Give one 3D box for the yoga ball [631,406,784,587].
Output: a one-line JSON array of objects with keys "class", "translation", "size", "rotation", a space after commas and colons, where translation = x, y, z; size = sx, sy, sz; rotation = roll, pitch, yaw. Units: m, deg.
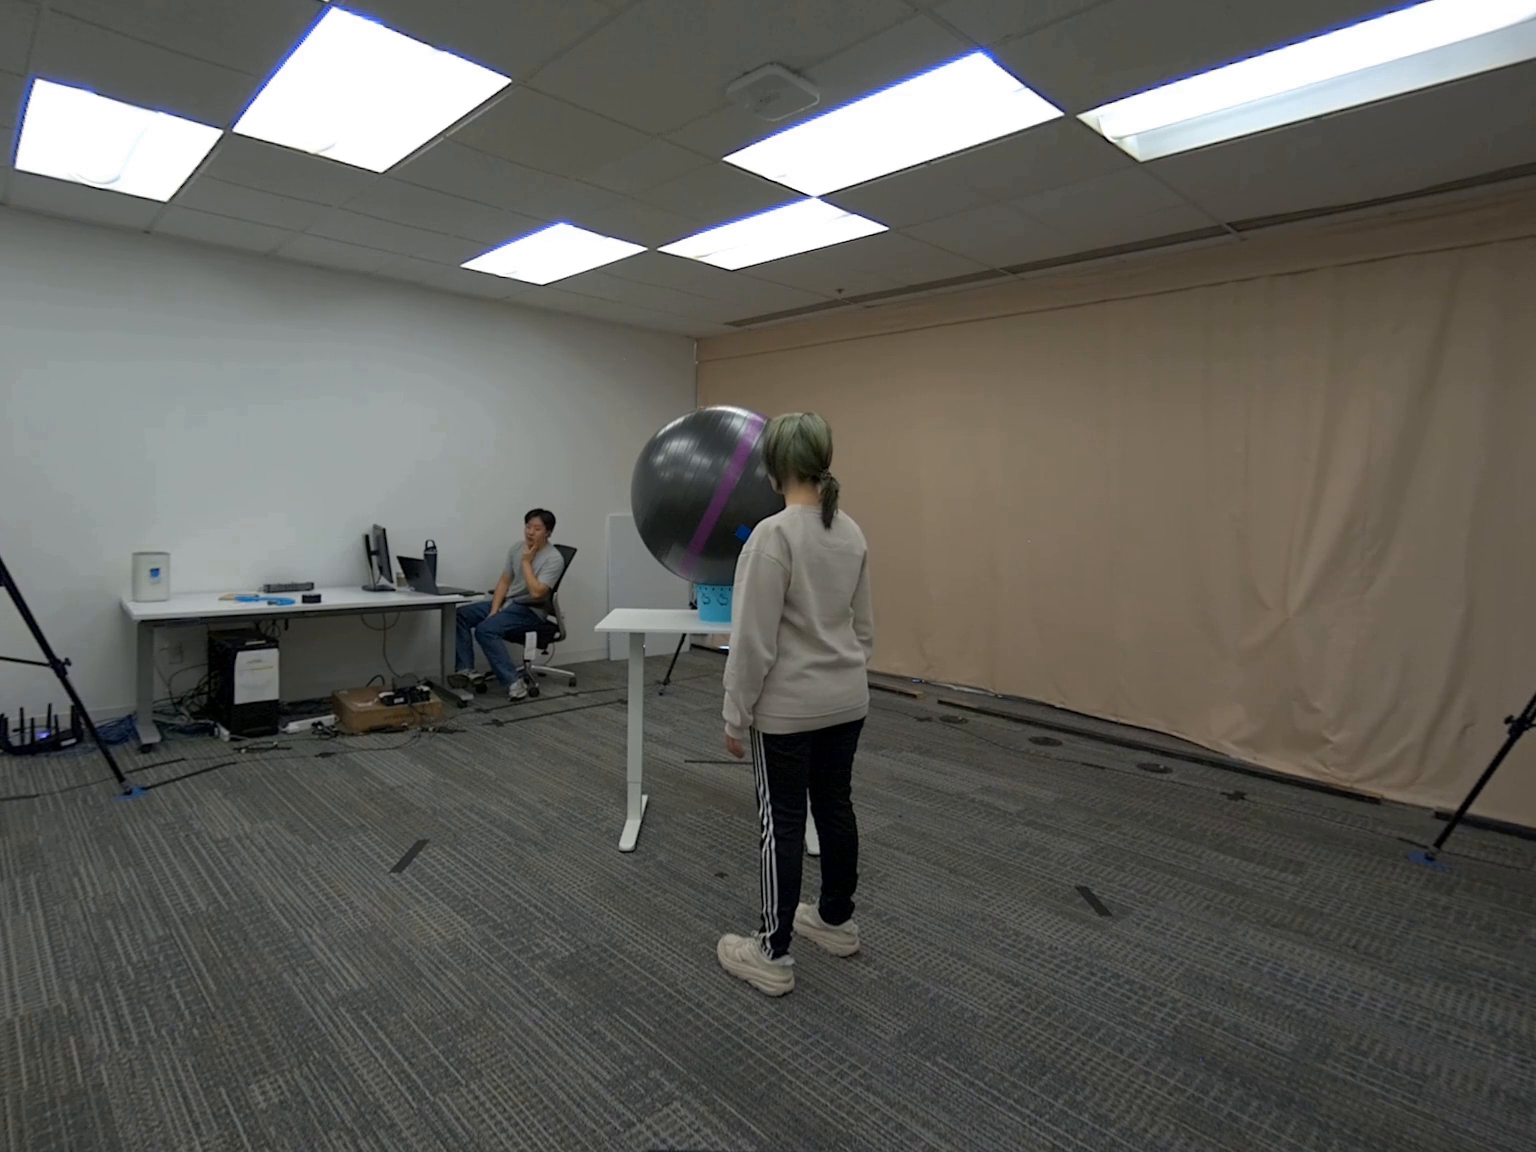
[{"class": "yoga ball", "translation": [-0.197, -0.325, 3.512], "size": [0.757, 0.756, 0.761], "rotation": [1, 4, -1]}]
